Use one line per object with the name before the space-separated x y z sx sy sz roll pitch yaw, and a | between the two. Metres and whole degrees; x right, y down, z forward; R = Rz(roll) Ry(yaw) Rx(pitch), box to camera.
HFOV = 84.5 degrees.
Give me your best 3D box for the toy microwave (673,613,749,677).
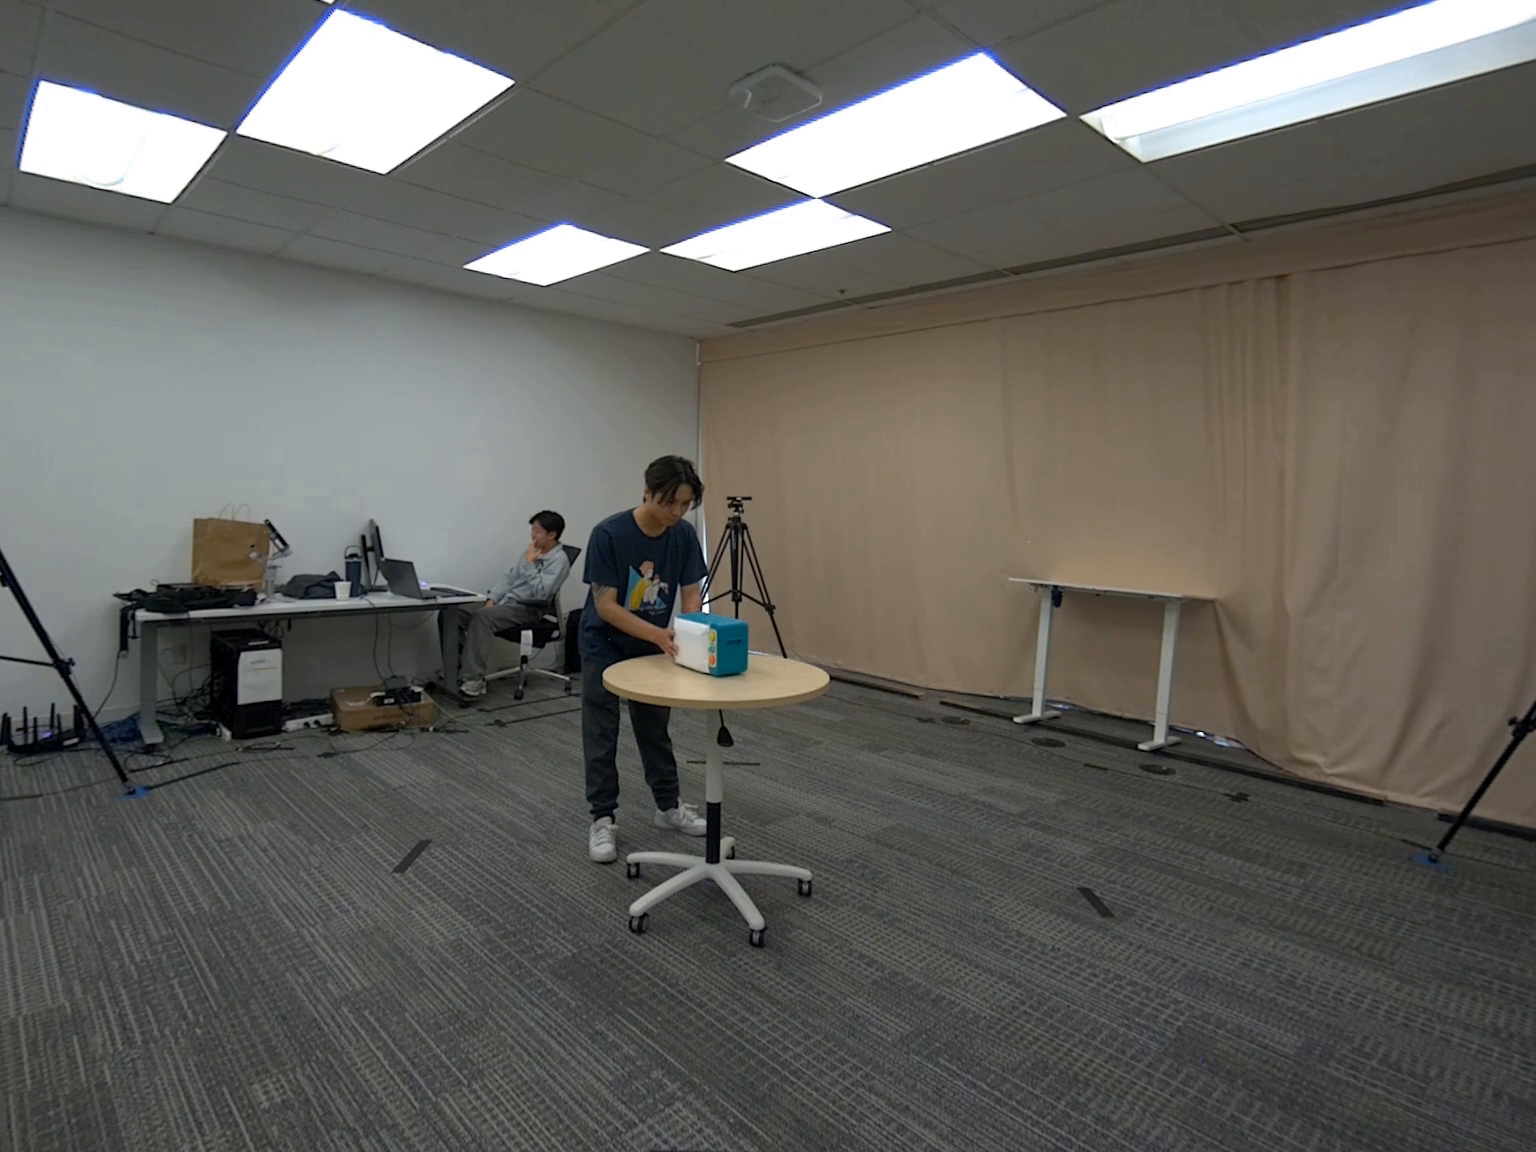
toy microwave | -0.212 0.236 2.907 0.149 0.184 0.293 -1 4 -38
